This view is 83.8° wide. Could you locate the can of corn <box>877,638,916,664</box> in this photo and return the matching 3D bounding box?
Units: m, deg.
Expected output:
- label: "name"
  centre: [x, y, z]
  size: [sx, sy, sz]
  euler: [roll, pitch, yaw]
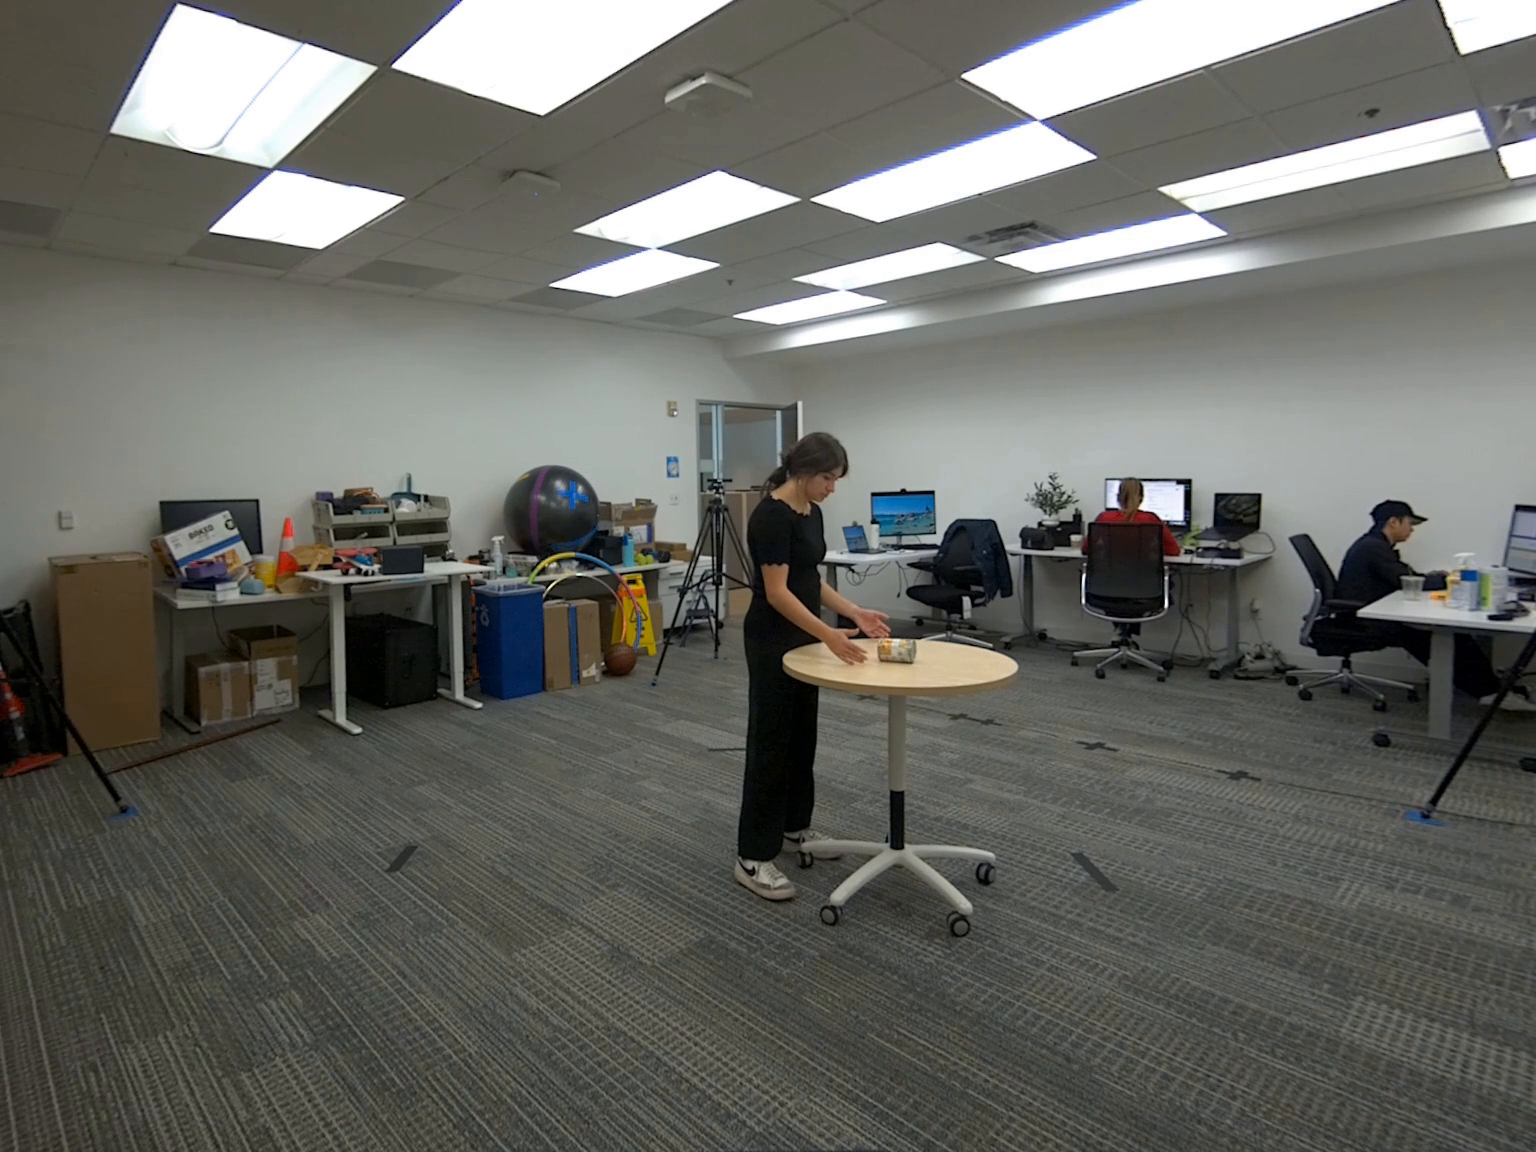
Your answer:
- label: "can of corn"
  centre: [0.428, 0.244, 2.829]
  size: [0.113, 0.074, 0.073]
  euler: [0, 5, 22]
